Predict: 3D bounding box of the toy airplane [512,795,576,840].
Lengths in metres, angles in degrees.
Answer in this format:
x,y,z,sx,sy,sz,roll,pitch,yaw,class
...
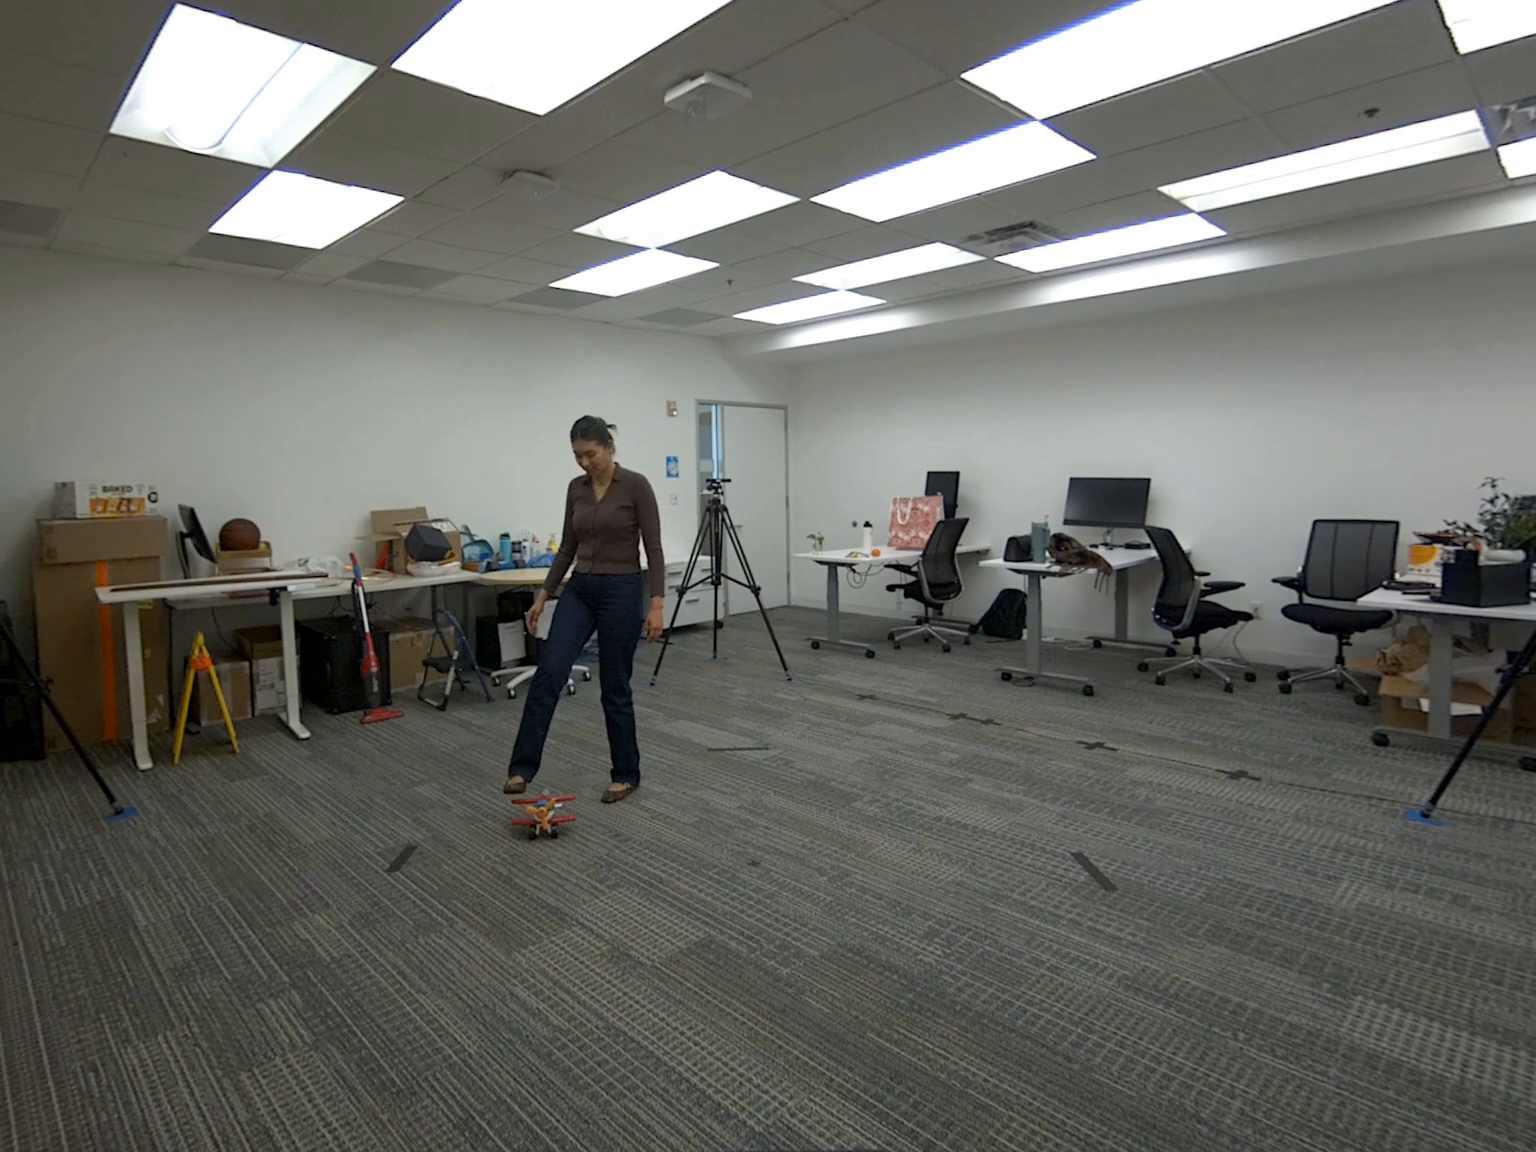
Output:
x,y,z,sx,sy,sz,roll,pitch,yaw,class
-0.918,0.949,3.447,0.245,0.156,0.267,-6,7,-35,toy airplane
